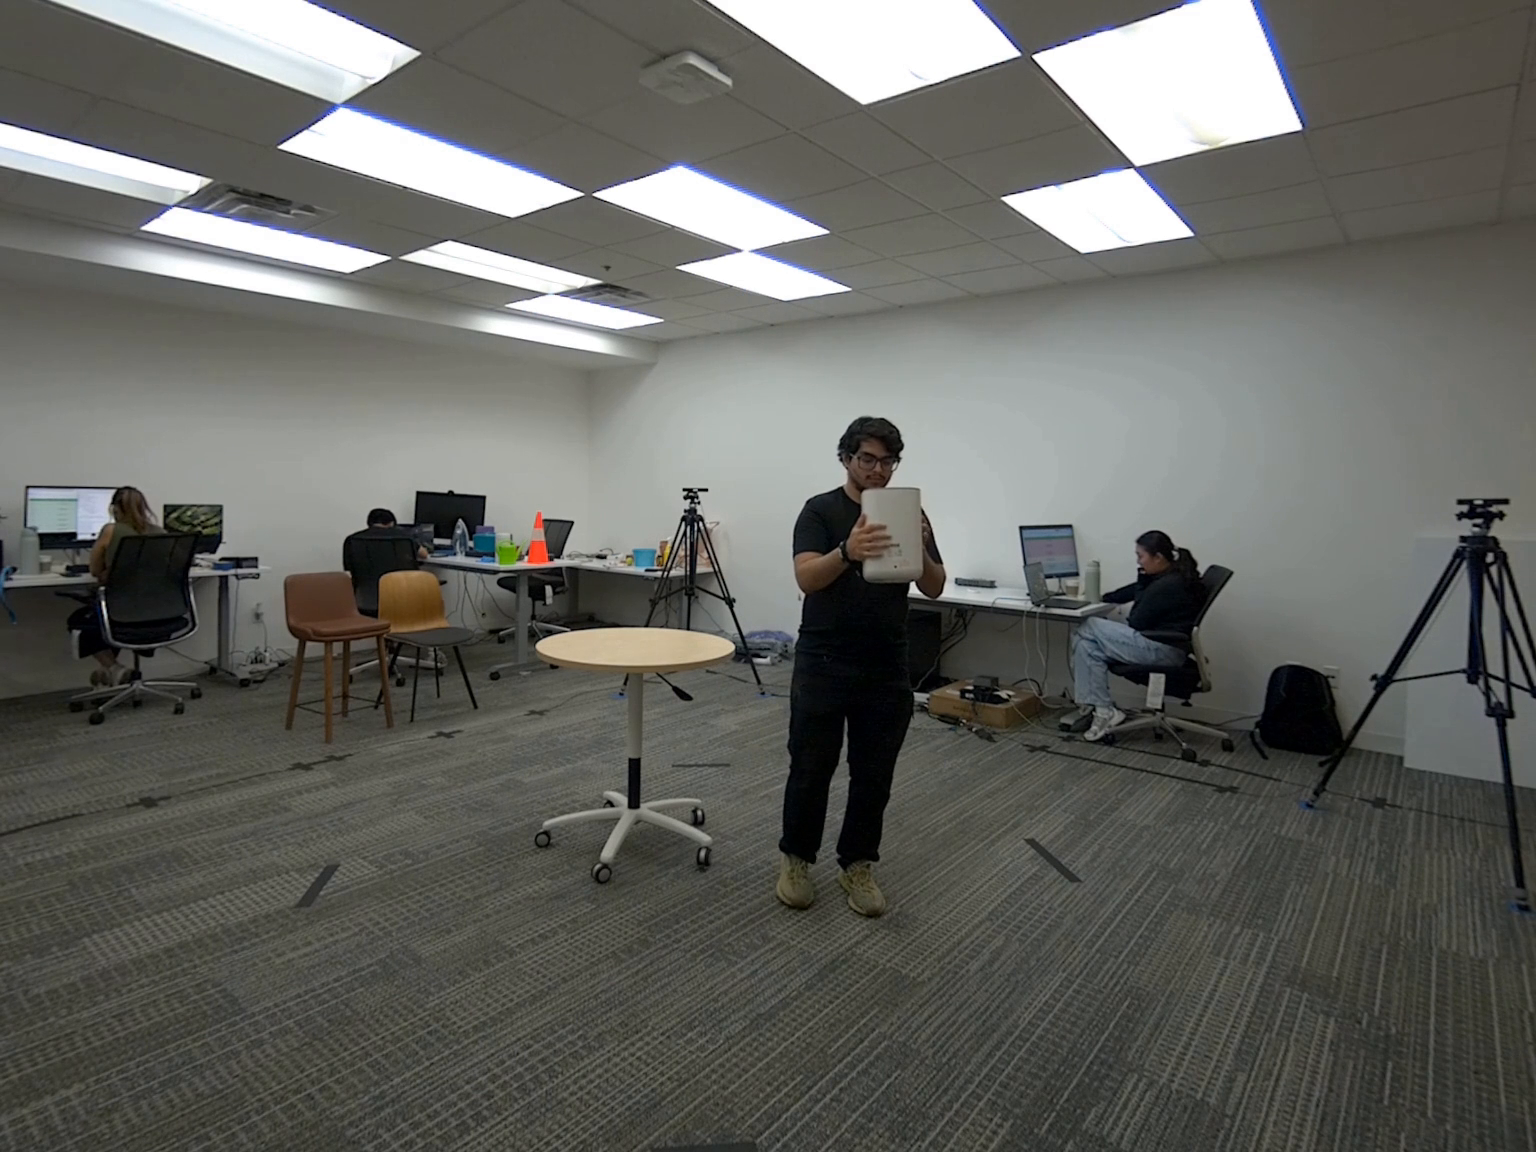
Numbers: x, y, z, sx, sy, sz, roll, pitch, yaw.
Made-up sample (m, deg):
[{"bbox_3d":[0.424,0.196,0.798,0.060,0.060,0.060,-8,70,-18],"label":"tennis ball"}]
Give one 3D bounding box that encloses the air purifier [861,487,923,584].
[{"bbox_3d":[0.364,-0.117,2.525,0.172,0.267,0.169,2,-8,3],"label":"air purifier"}]
